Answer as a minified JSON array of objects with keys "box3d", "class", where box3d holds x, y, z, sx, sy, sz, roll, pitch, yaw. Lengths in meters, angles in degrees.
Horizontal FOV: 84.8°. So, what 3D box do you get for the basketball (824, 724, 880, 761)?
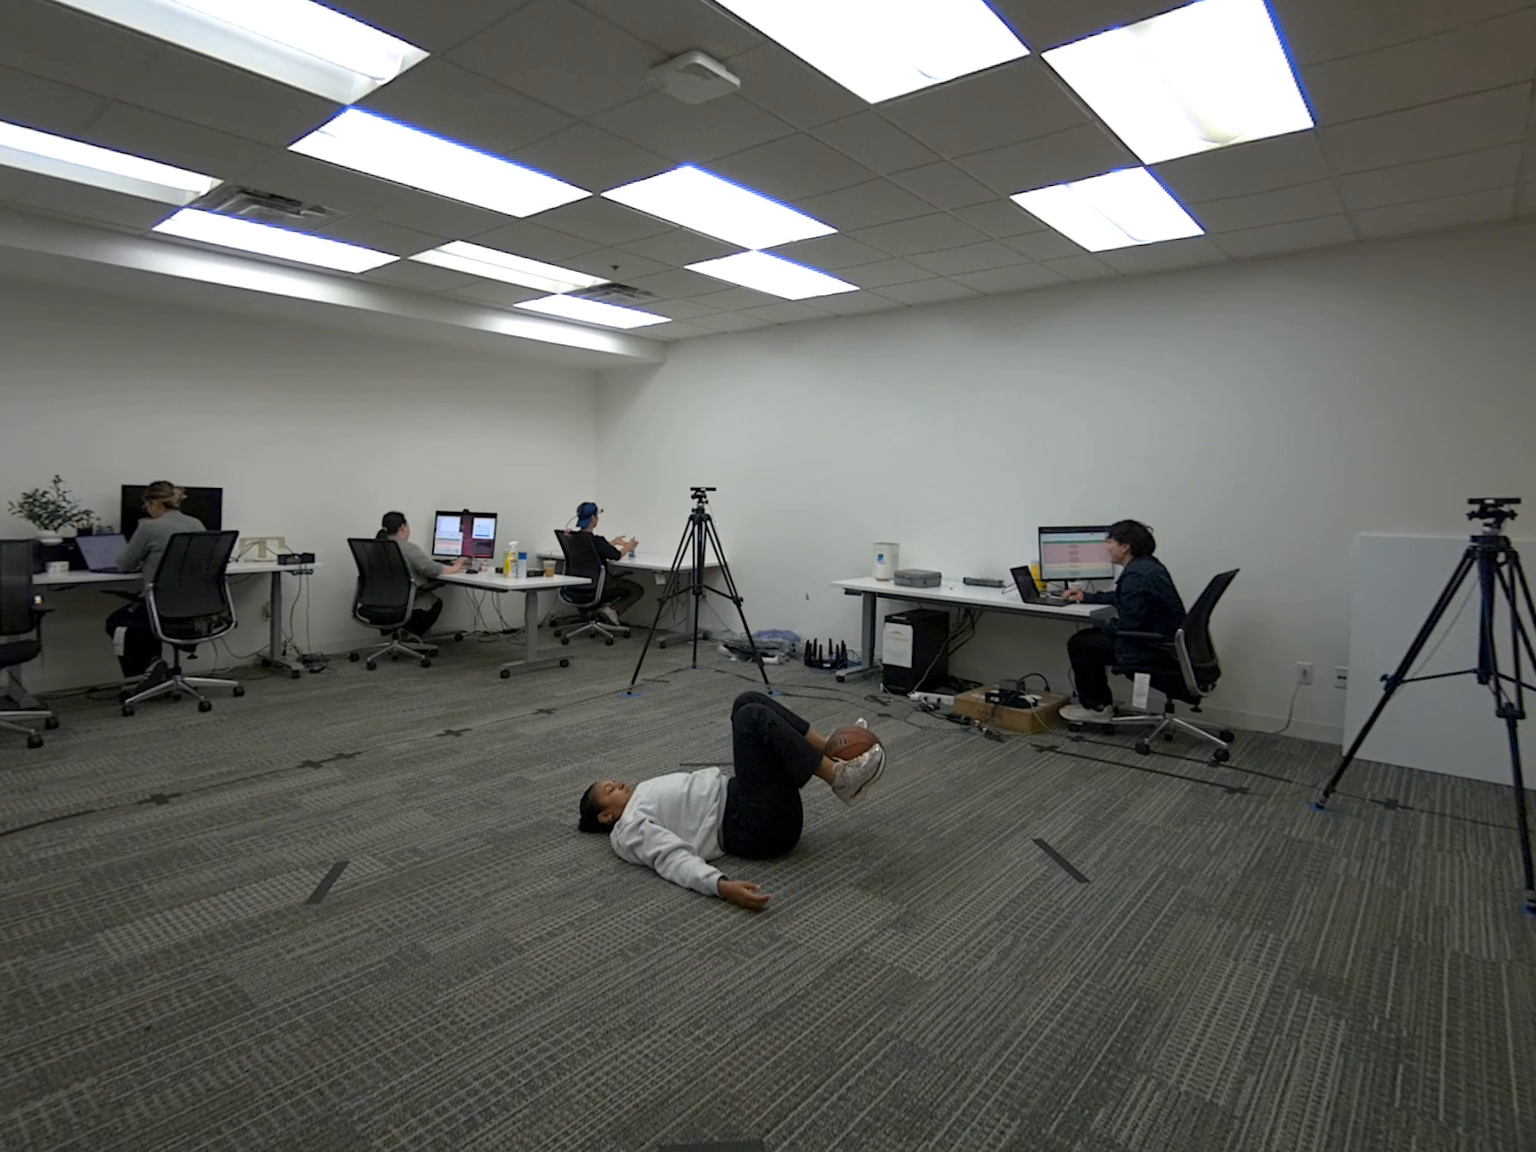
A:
[{"box3d":[0.329,0.703,3.327,0.236,0.234,0.238,-2,8,-2],"class":"basketball"}]
